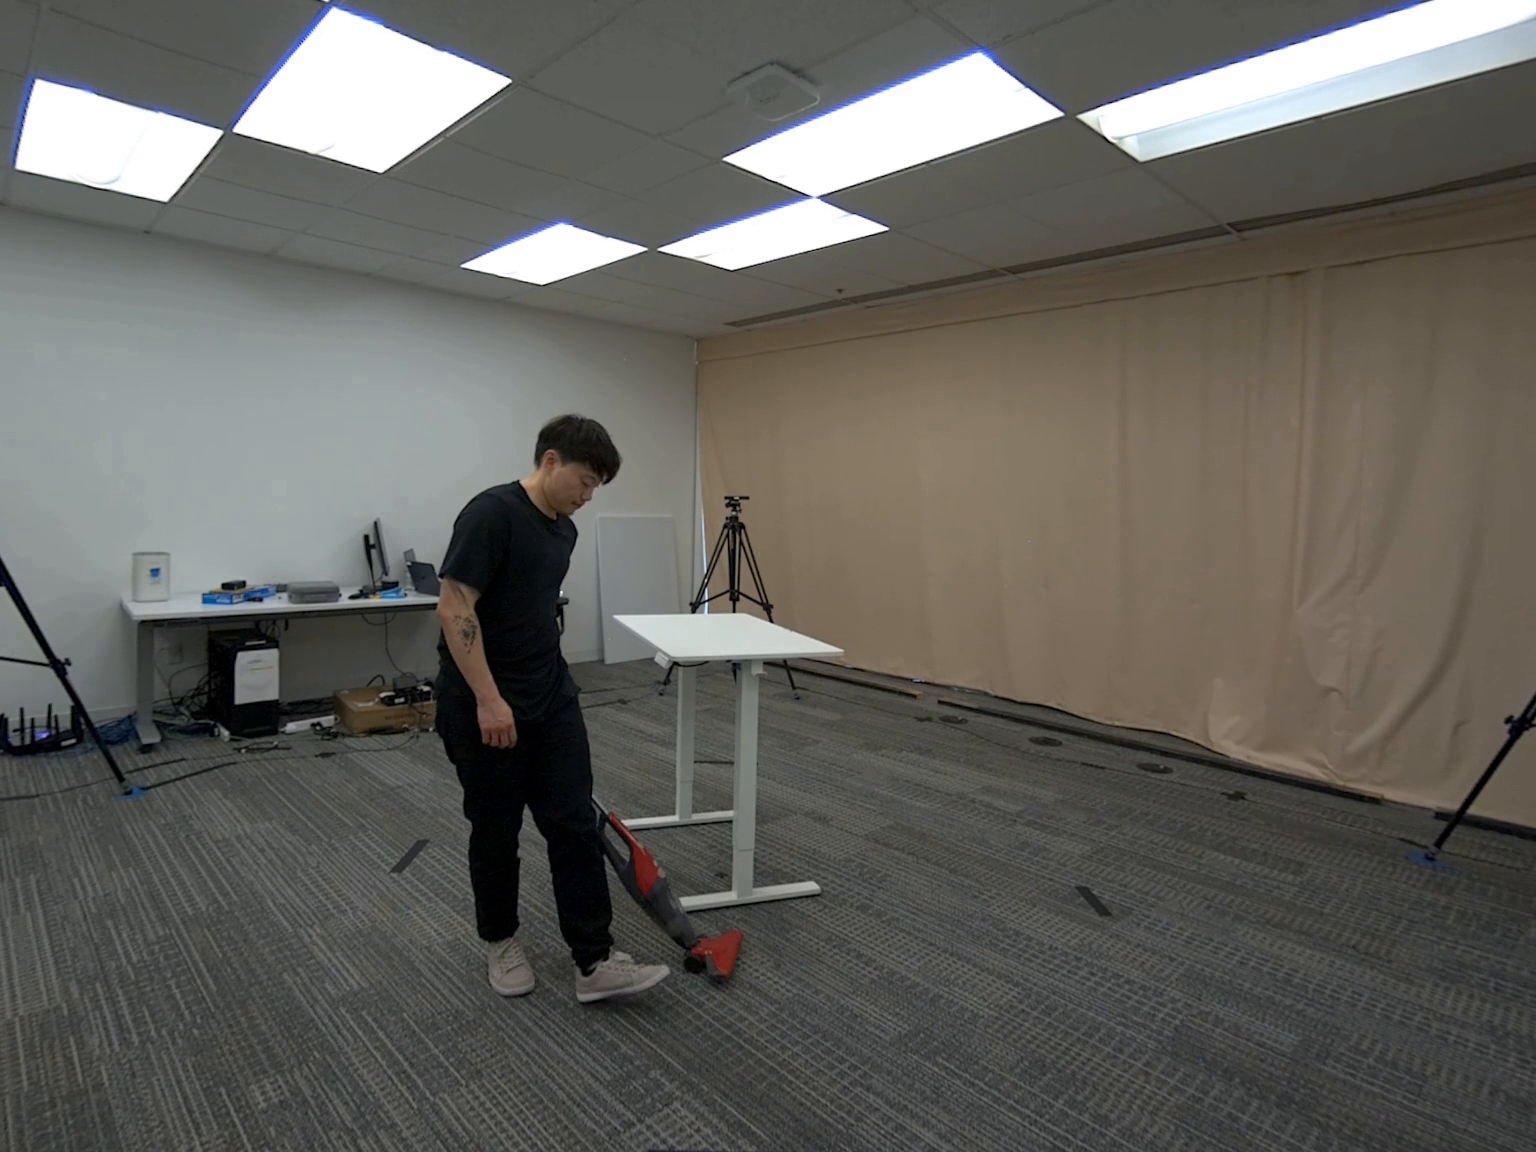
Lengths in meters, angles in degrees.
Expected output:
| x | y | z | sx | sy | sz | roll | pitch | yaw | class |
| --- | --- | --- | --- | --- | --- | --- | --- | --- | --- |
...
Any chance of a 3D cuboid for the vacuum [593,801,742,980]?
| x | y | z | sx | sy | sz | roll | pitch | yaw | class |
| --- | --- | --- | --- | --- | --- | --- | --- | --- | --- |
| -0.508 | 0.768 | 2.548 | 1.055 | 0.144 | 0.251 | 46 | 9 | 5 | vacuum |
